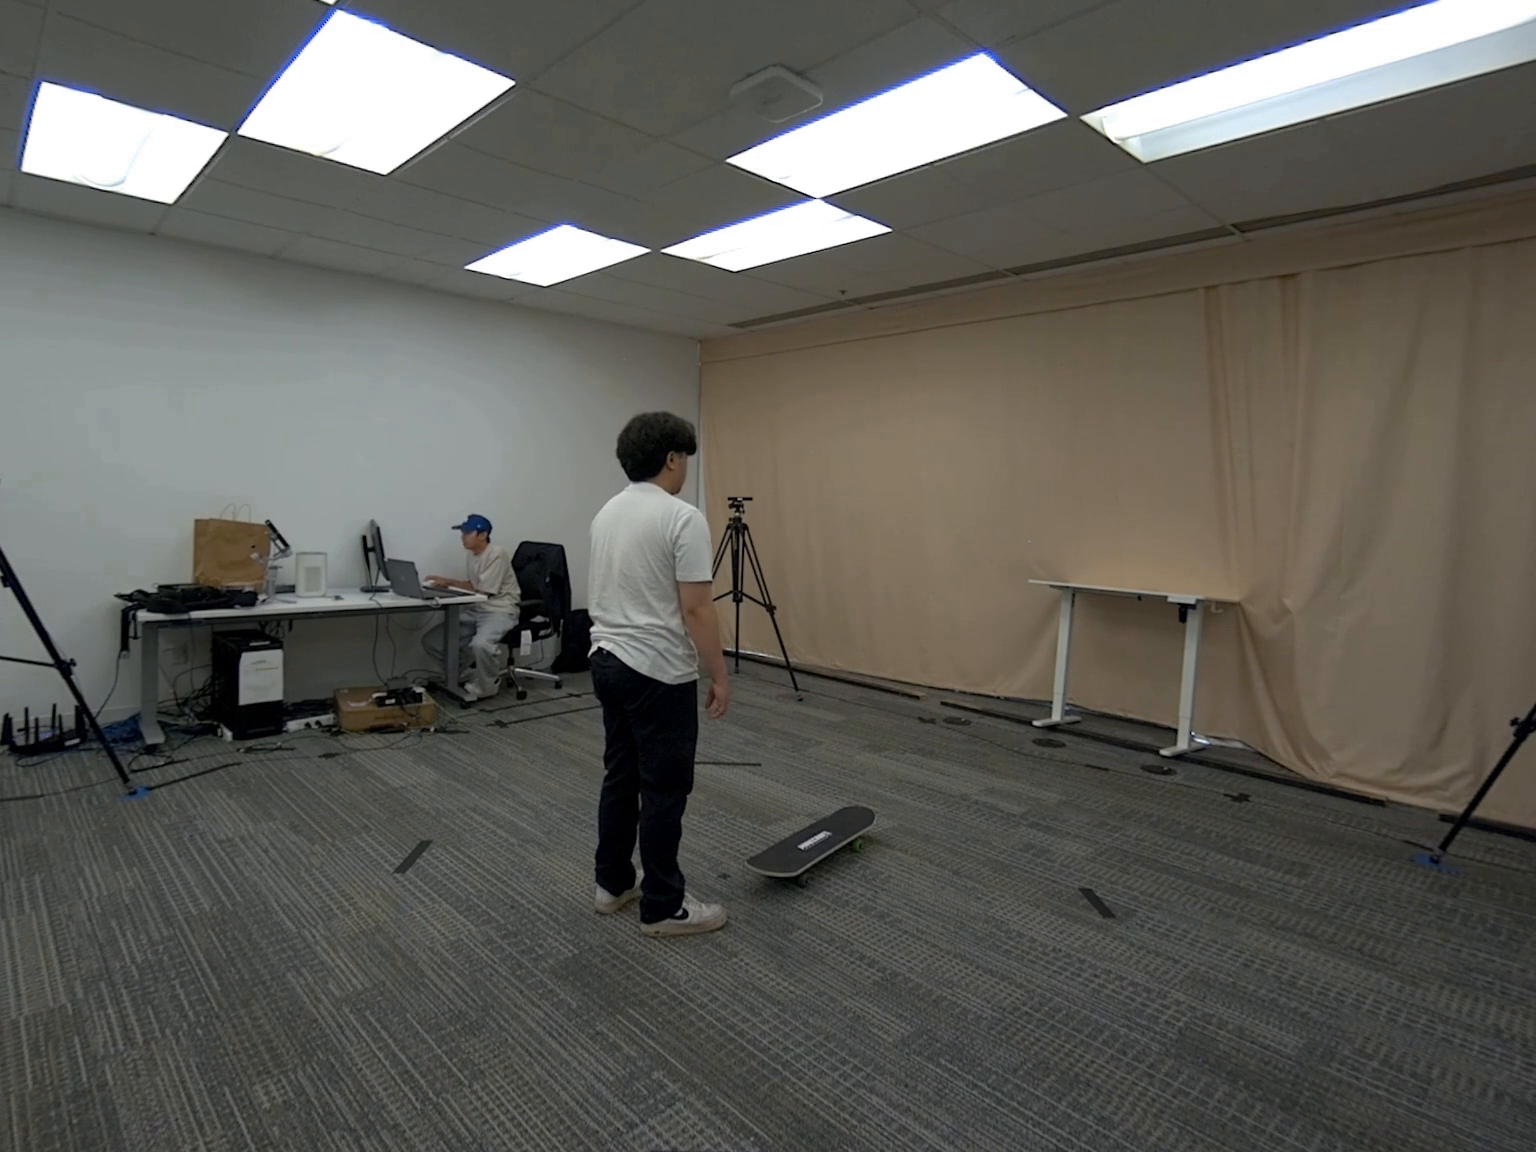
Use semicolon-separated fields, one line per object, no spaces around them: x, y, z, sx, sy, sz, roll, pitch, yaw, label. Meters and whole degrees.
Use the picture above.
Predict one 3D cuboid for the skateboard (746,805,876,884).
0.175;1.046;3.234;0.198;0.110;0.769;4;5;35;skateboard
